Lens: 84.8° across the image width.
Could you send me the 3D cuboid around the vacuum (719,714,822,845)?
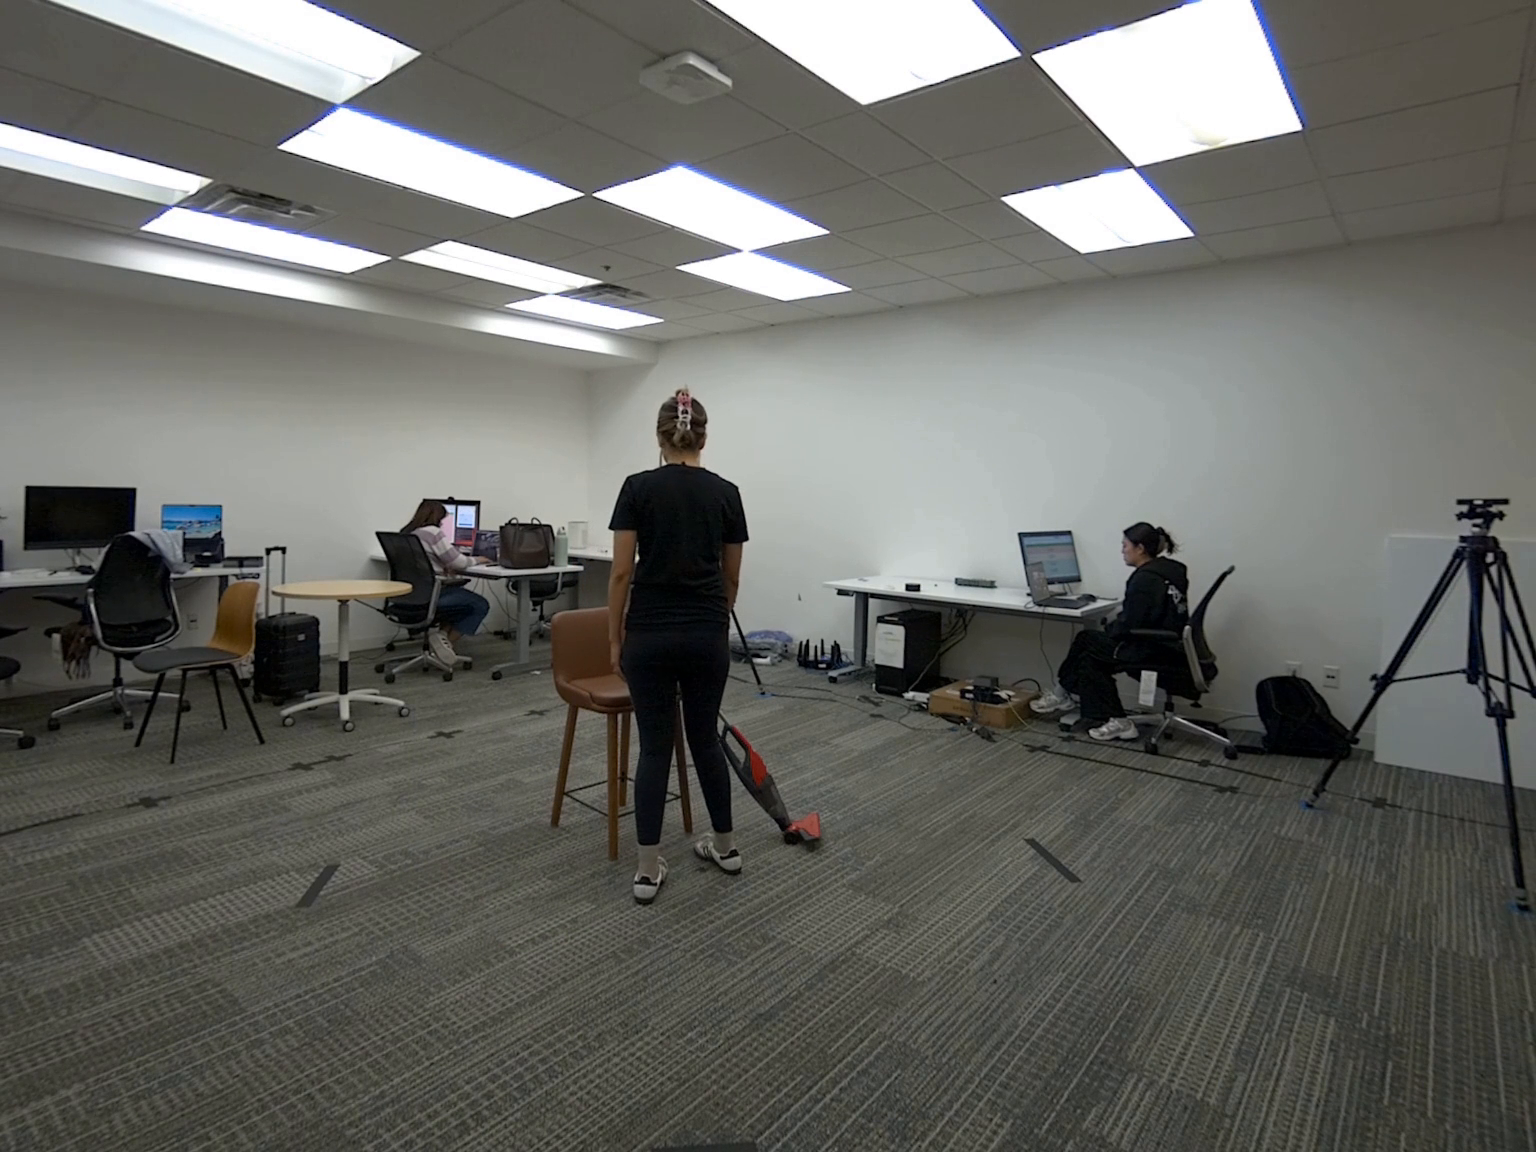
[{"bbox_3d":[-0.188,0.629,3.419,0.144,1.053,0.251,-40,-2,4],"label":"vacuum"}]
